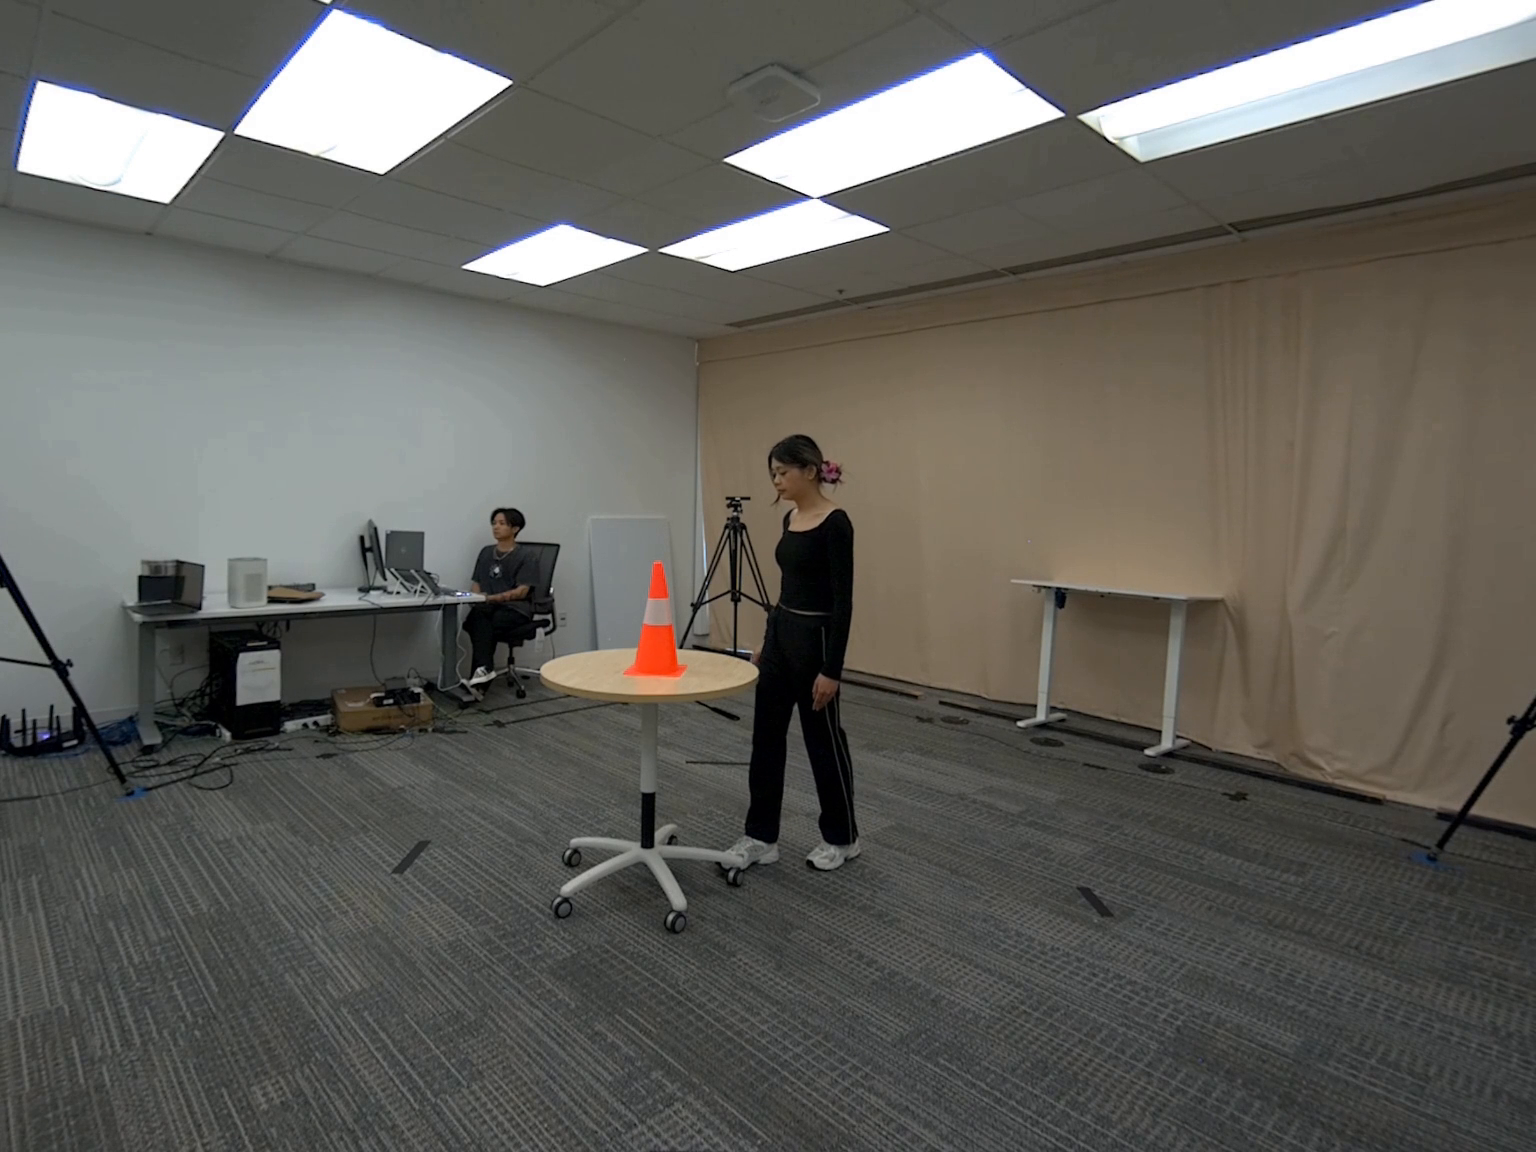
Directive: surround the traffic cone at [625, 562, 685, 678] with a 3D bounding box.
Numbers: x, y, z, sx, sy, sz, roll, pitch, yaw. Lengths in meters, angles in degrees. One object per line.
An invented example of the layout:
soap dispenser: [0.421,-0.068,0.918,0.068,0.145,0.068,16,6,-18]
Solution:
traffic cone: [-0.393,0.145,2.926,0.204,0.382,0.205,2,5,4]
